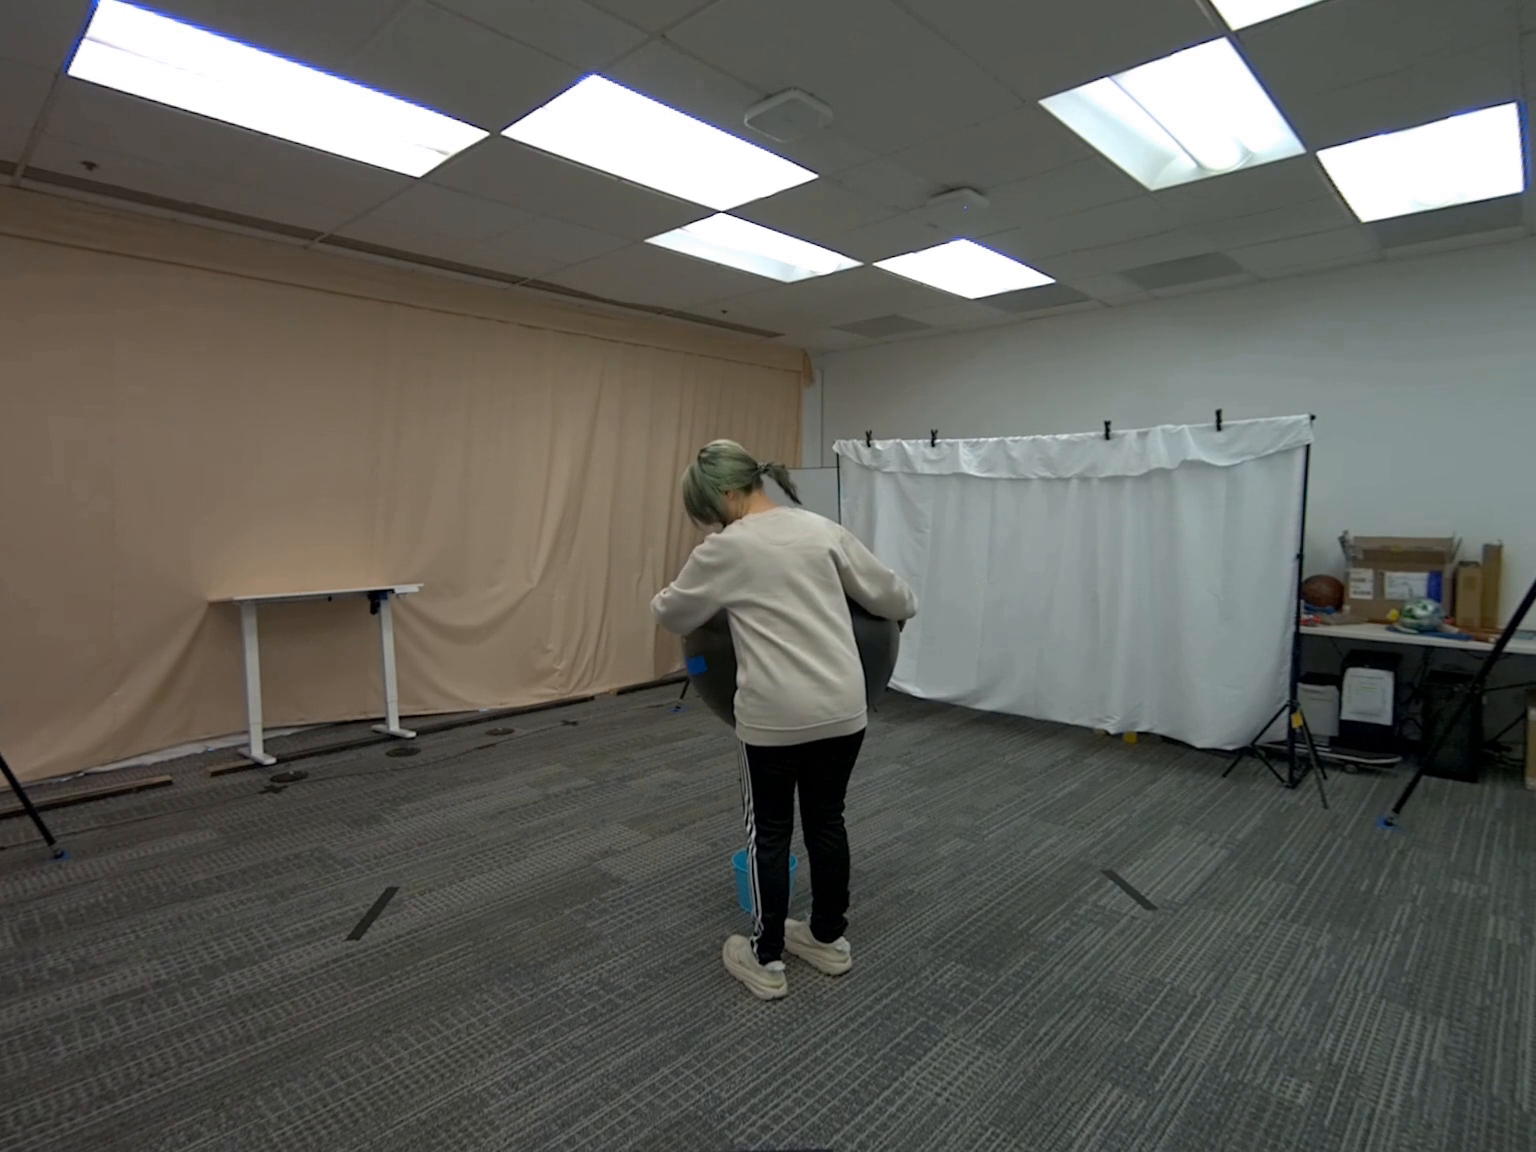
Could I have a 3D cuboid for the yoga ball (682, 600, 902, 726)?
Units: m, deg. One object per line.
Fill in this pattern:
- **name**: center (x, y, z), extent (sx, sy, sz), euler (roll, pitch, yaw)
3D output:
- **yoga ball**: center (0.075, 0.205, 2.919), extent (0.757, 0.756, 0.760), euler (0, 4, -2)
